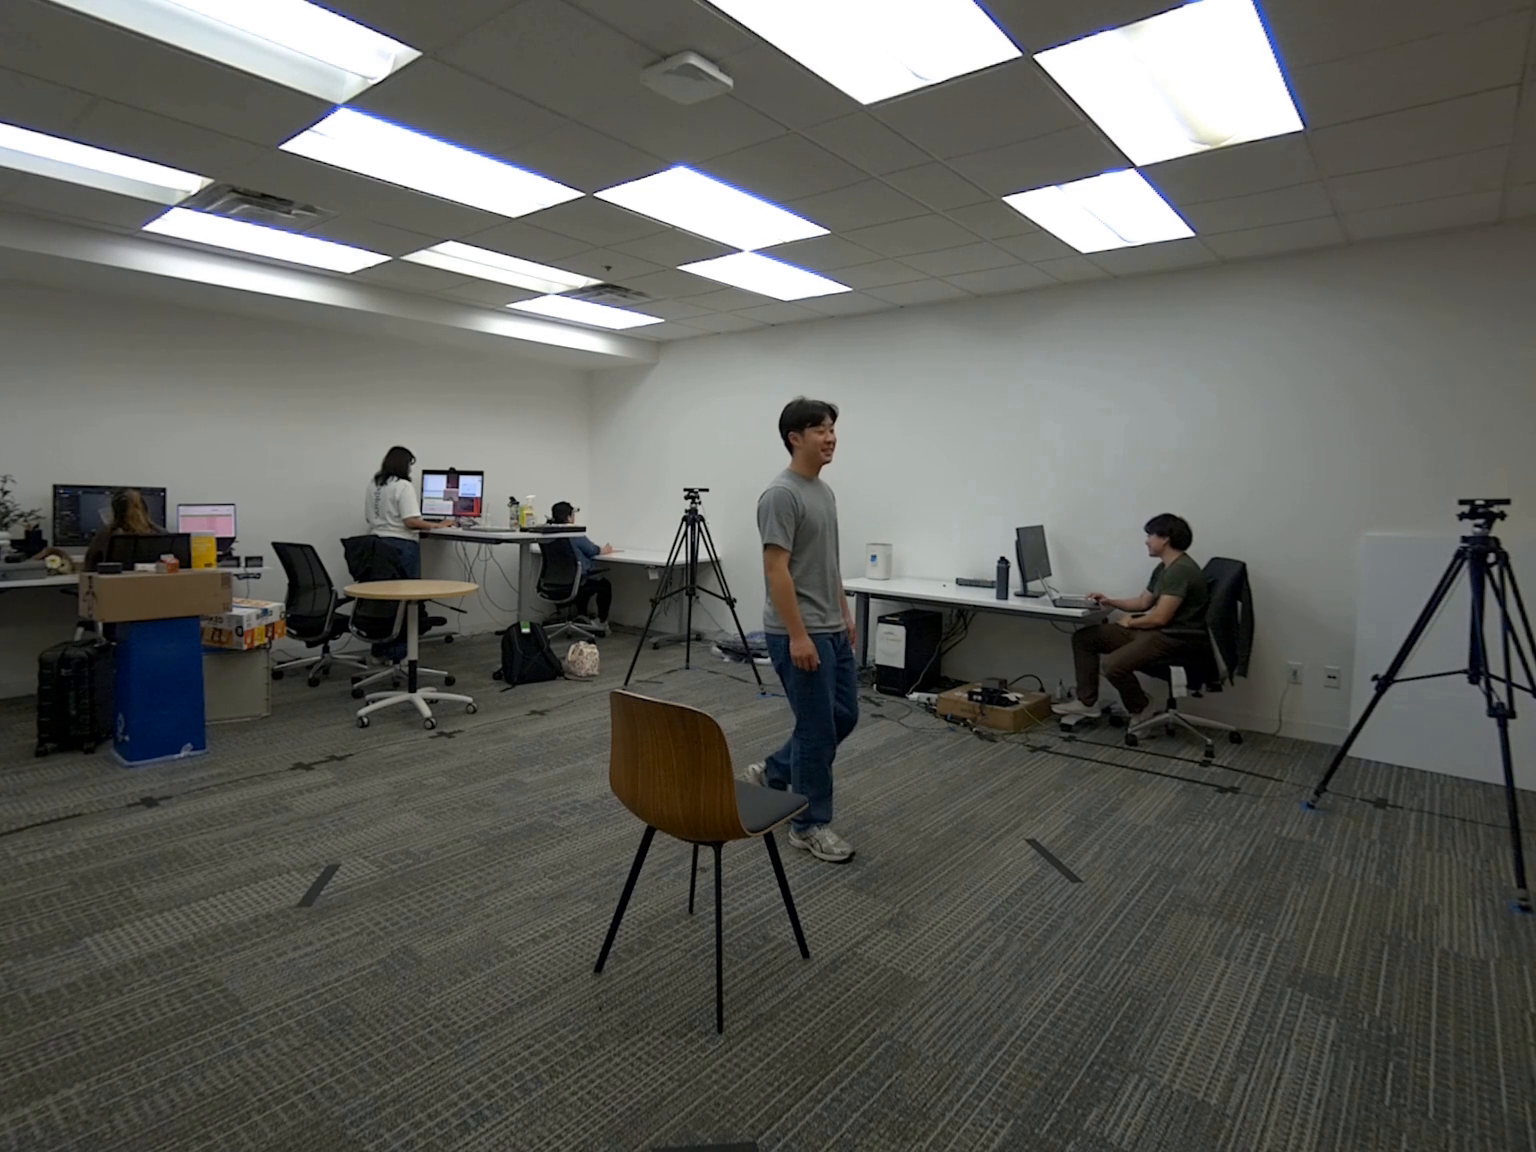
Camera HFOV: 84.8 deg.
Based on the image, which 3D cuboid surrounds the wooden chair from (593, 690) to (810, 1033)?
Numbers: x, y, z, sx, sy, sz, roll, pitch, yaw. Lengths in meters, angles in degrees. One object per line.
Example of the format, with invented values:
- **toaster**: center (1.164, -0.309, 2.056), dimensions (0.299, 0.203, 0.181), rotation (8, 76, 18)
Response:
- **wooden chair**: center (-0.186, 0.706, 2.459), dimensions (0.493, 0.871, 0.510), rotation (3, 9, 34)
